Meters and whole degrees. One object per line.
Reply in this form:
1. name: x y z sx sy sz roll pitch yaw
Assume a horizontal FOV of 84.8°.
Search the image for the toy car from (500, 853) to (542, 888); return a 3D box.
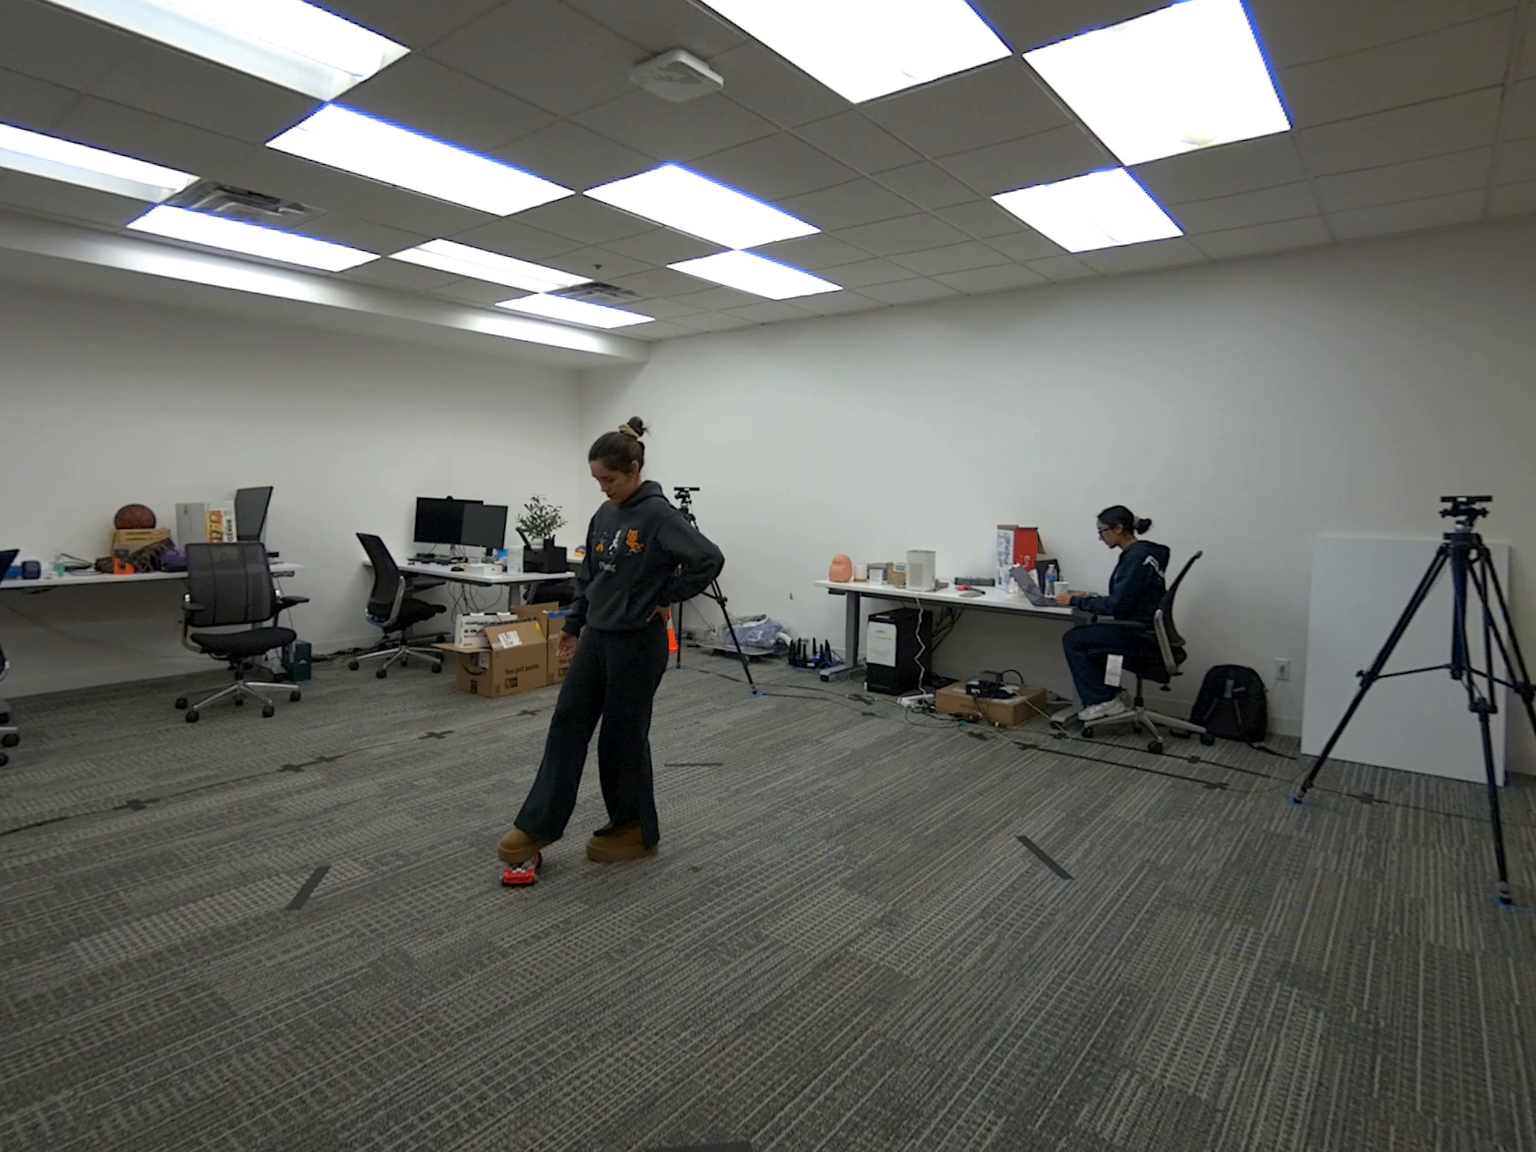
1. toy car: -0.886 1.039 3.055 0.129 0.082 0.260 1 15 -9
